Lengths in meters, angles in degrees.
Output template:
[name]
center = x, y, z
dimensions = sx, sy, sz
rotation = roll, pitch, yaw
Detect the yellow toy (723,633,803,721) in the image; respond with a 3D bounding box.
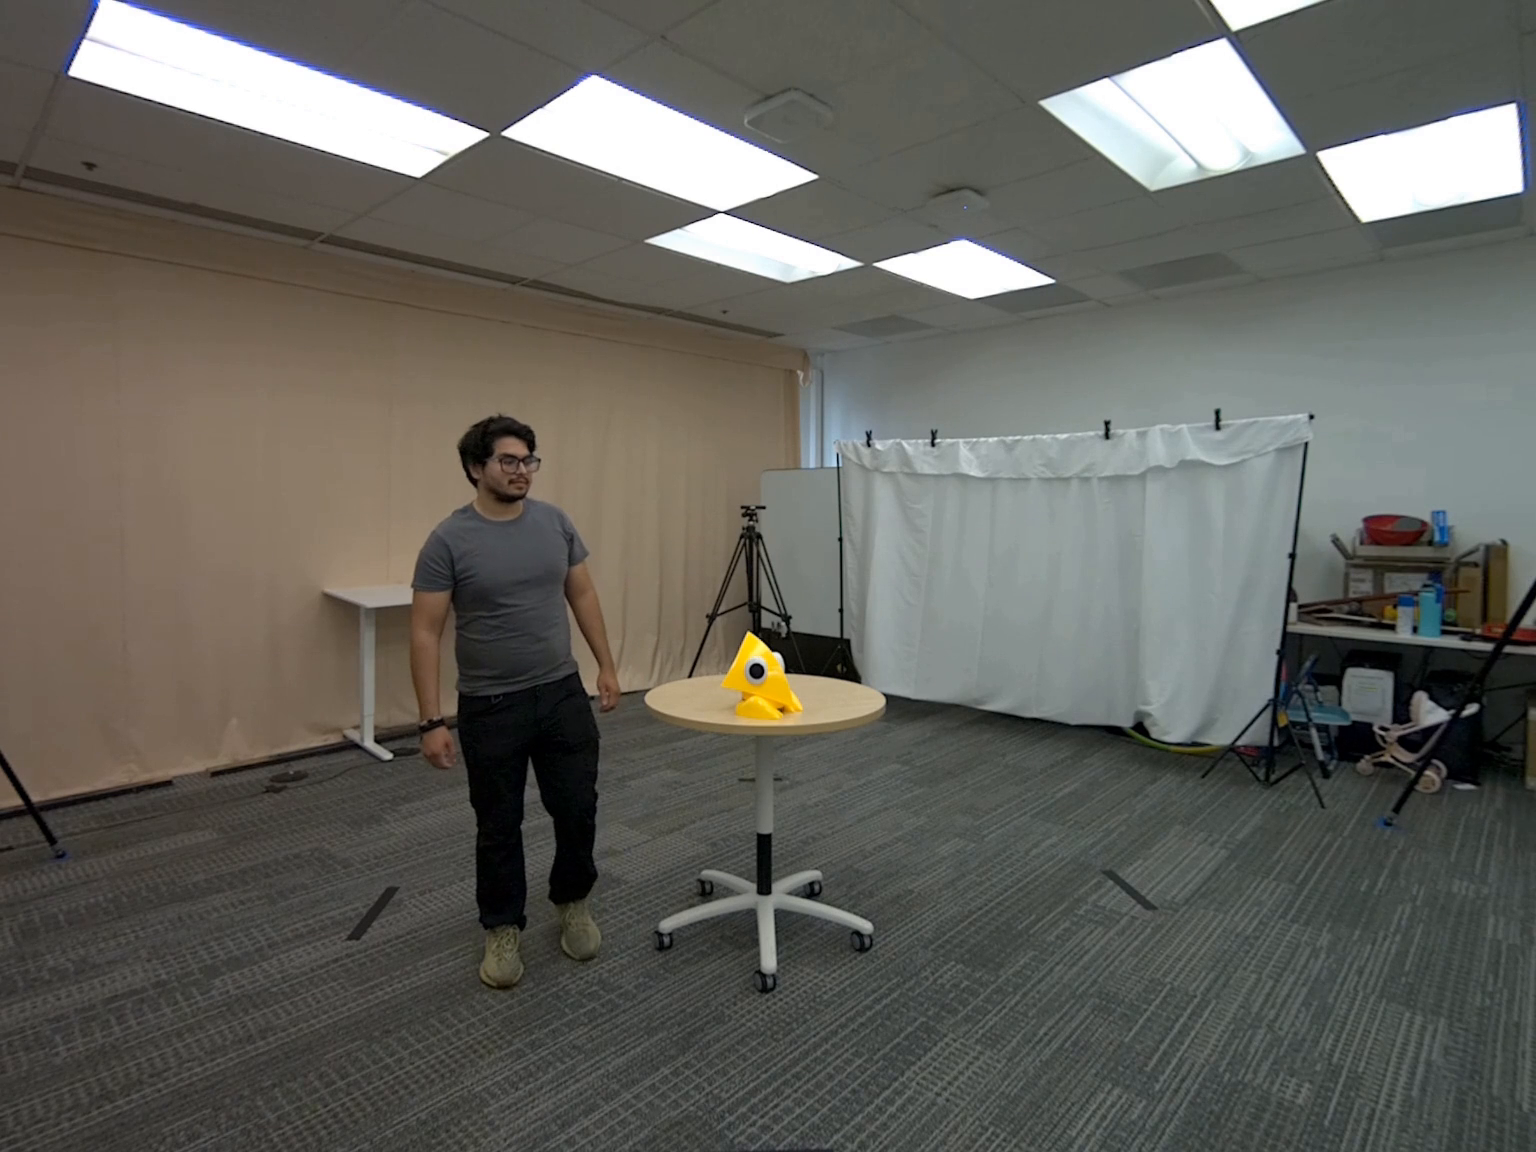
[yellow toy]
center = -0.002, 0.287, 2.487
dimensions = 0.199, 0.230, 0.199
rotation = 3, 4, 34
